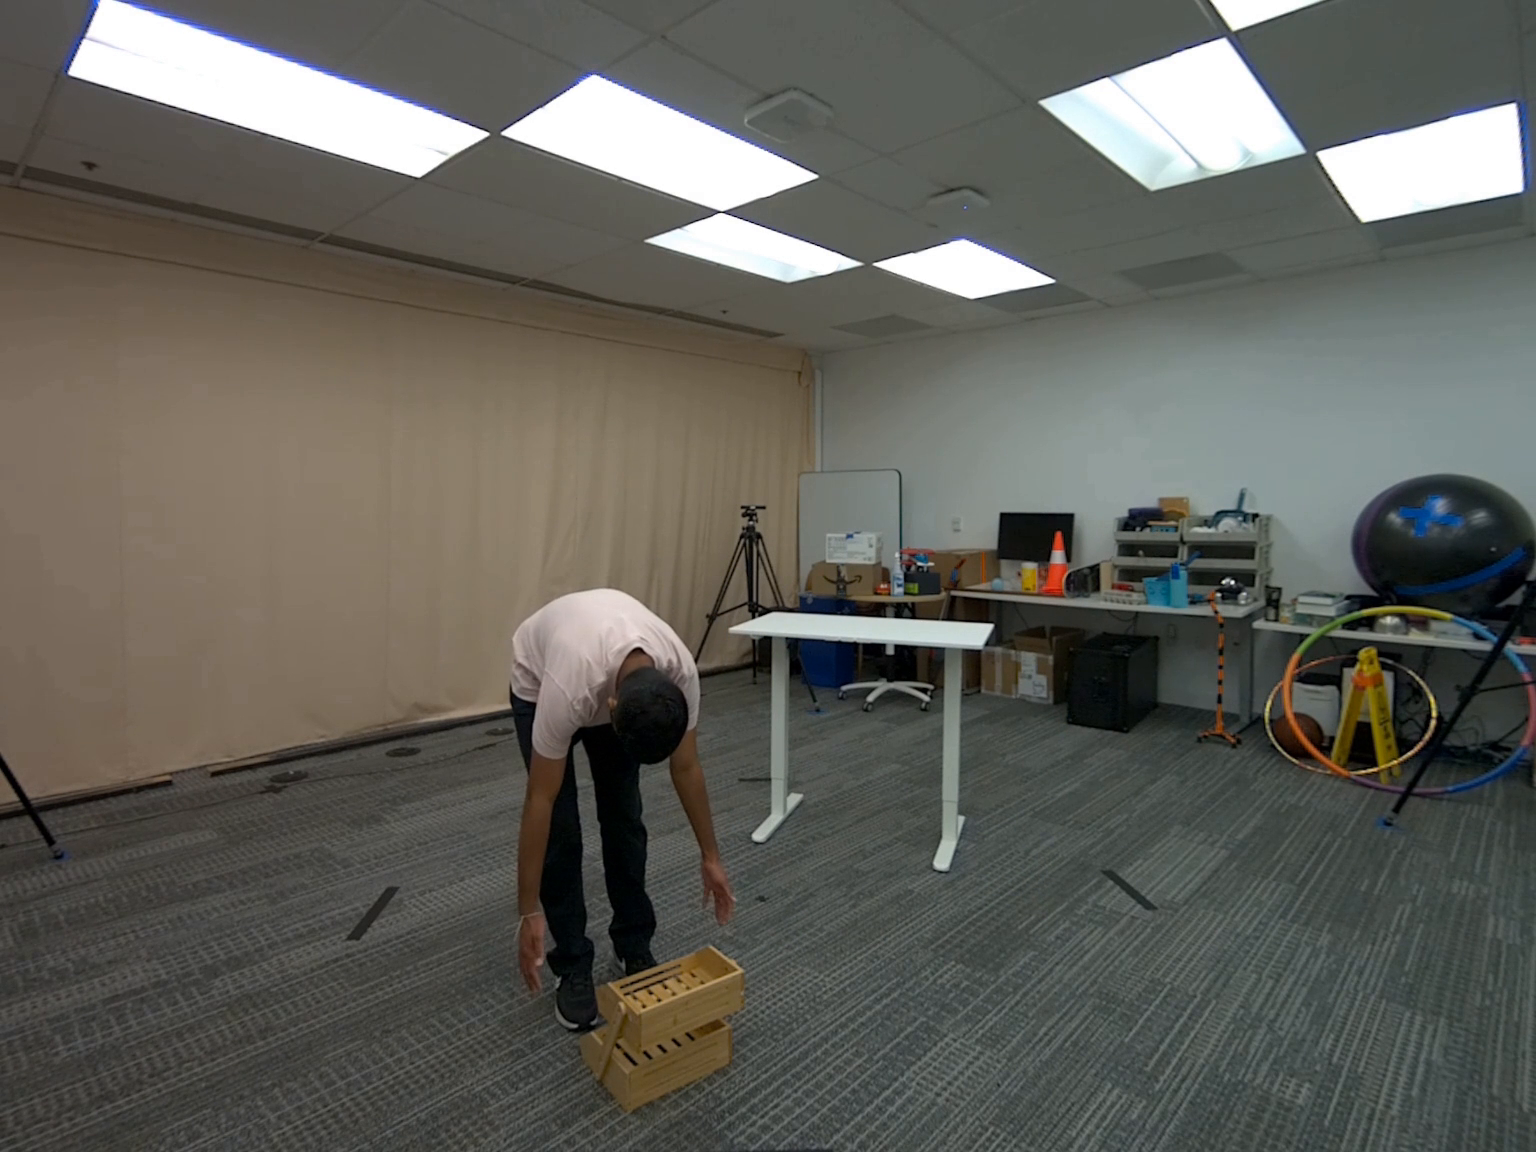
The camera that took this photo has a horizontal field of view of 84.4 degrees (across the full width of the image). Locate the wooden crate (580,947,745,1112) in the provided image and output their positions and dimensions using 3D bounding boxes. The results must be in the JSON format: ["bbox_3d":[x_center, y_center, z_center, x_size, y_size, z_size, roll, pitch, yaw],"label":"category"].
[{"bbox_3d":[-0.264,1.089,2.084,0.315,0.273,0.312,-2,5,-37],"label":"wooden crate"}]
